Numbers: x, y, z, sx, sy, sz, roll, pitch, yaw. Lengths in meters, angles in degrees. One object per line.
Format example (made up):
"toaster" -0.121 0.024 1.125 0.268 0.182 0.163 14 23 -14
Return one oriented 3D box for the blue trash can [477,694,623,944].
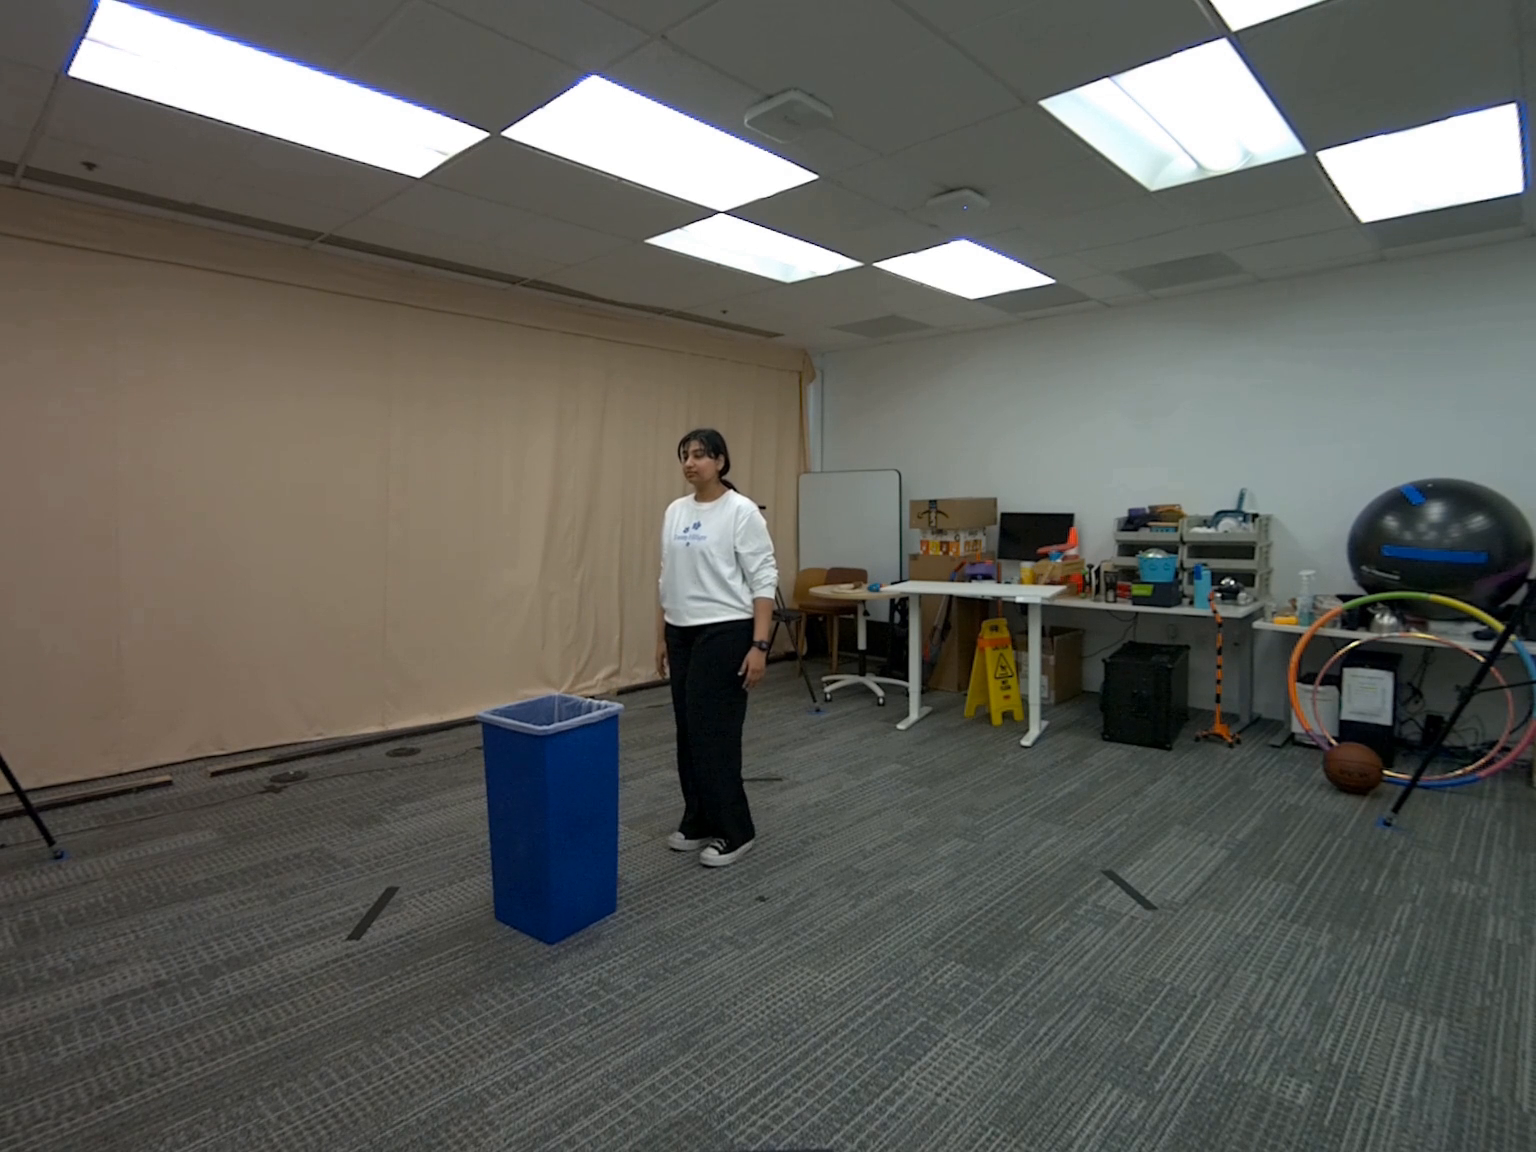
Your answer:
"blue trash can" -0.730 0.803 2.853 0.390 0.712 0.363 1 3 37
